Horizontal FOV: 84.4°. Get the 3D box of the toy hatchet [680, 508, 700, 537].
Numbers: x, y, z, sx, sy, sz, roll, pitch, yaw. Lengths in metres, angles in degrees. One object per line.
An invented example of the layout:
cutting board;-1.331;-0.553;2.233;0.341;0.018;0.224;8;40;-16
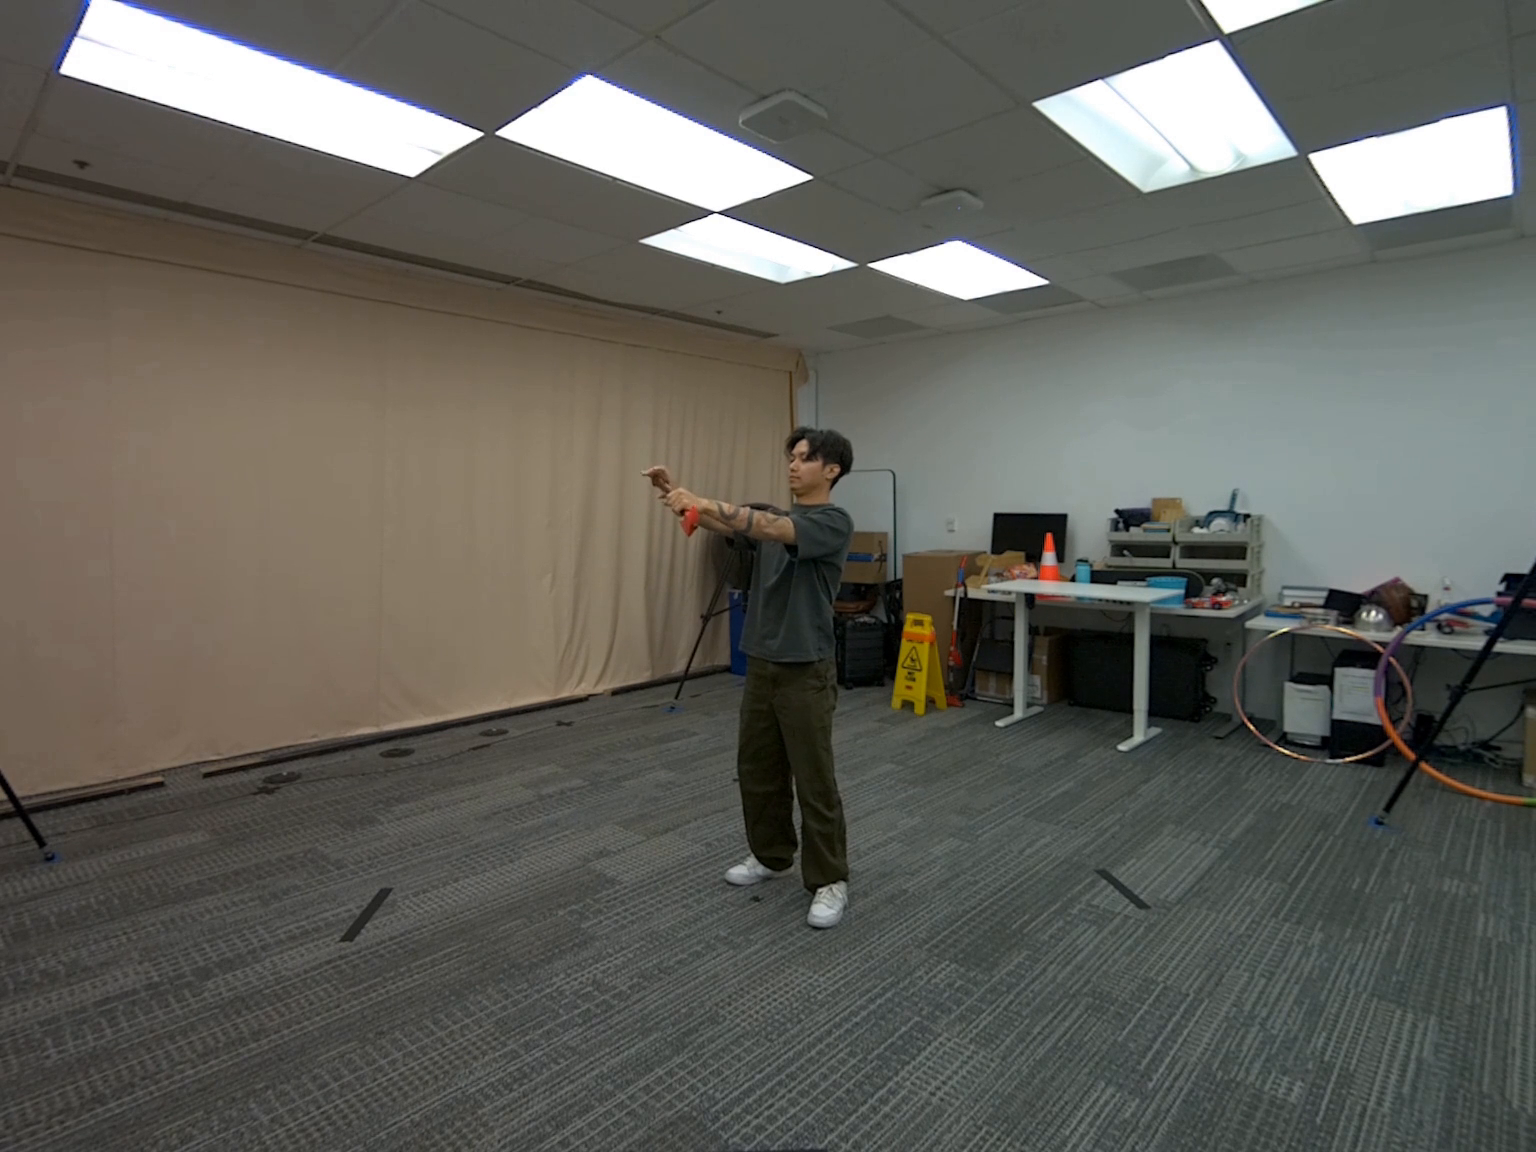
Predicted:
toy hatchet;-0.297;-0.218;2.713;0.029;0.129;0.280;-20;37;-26
